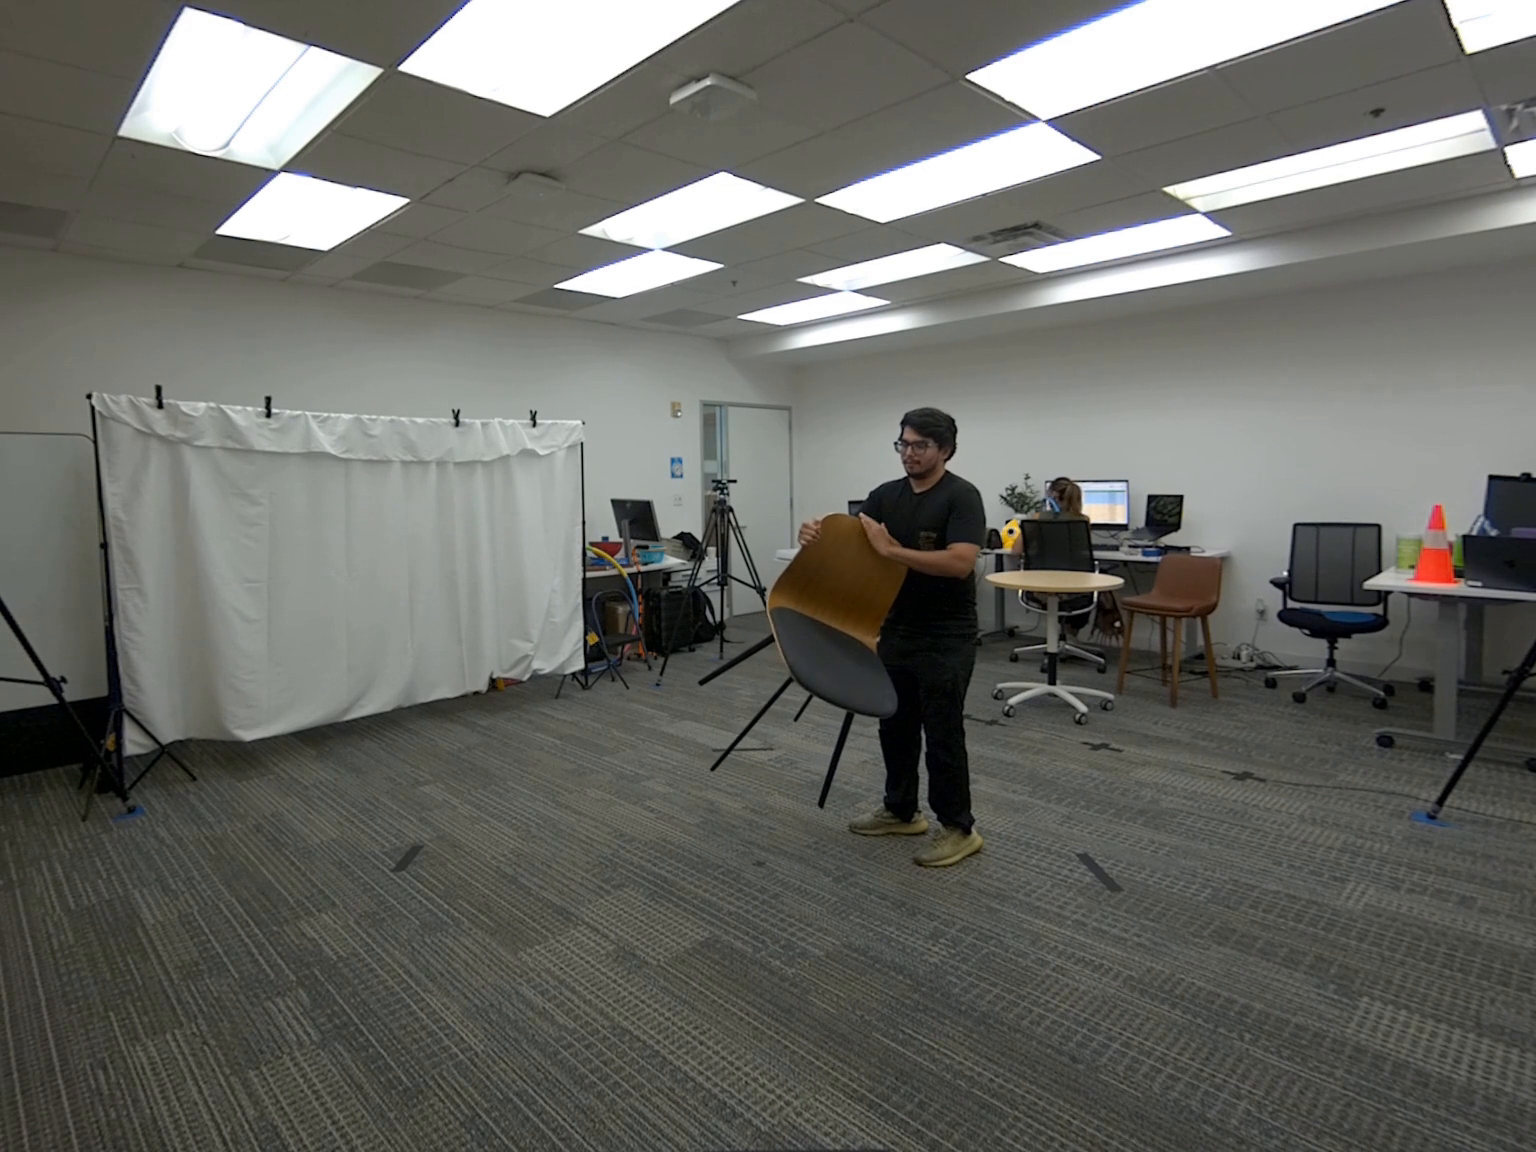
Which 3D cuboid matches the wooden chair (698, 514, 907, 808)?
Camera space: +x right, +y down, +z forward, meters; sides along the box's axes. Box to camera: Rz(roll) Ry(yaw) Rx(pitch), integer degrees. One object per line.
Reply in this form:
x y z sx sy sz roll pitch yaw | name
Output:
0.189 0.290 2.909 0.466 0.873 0.539 25 20 -22 | wooden chair
